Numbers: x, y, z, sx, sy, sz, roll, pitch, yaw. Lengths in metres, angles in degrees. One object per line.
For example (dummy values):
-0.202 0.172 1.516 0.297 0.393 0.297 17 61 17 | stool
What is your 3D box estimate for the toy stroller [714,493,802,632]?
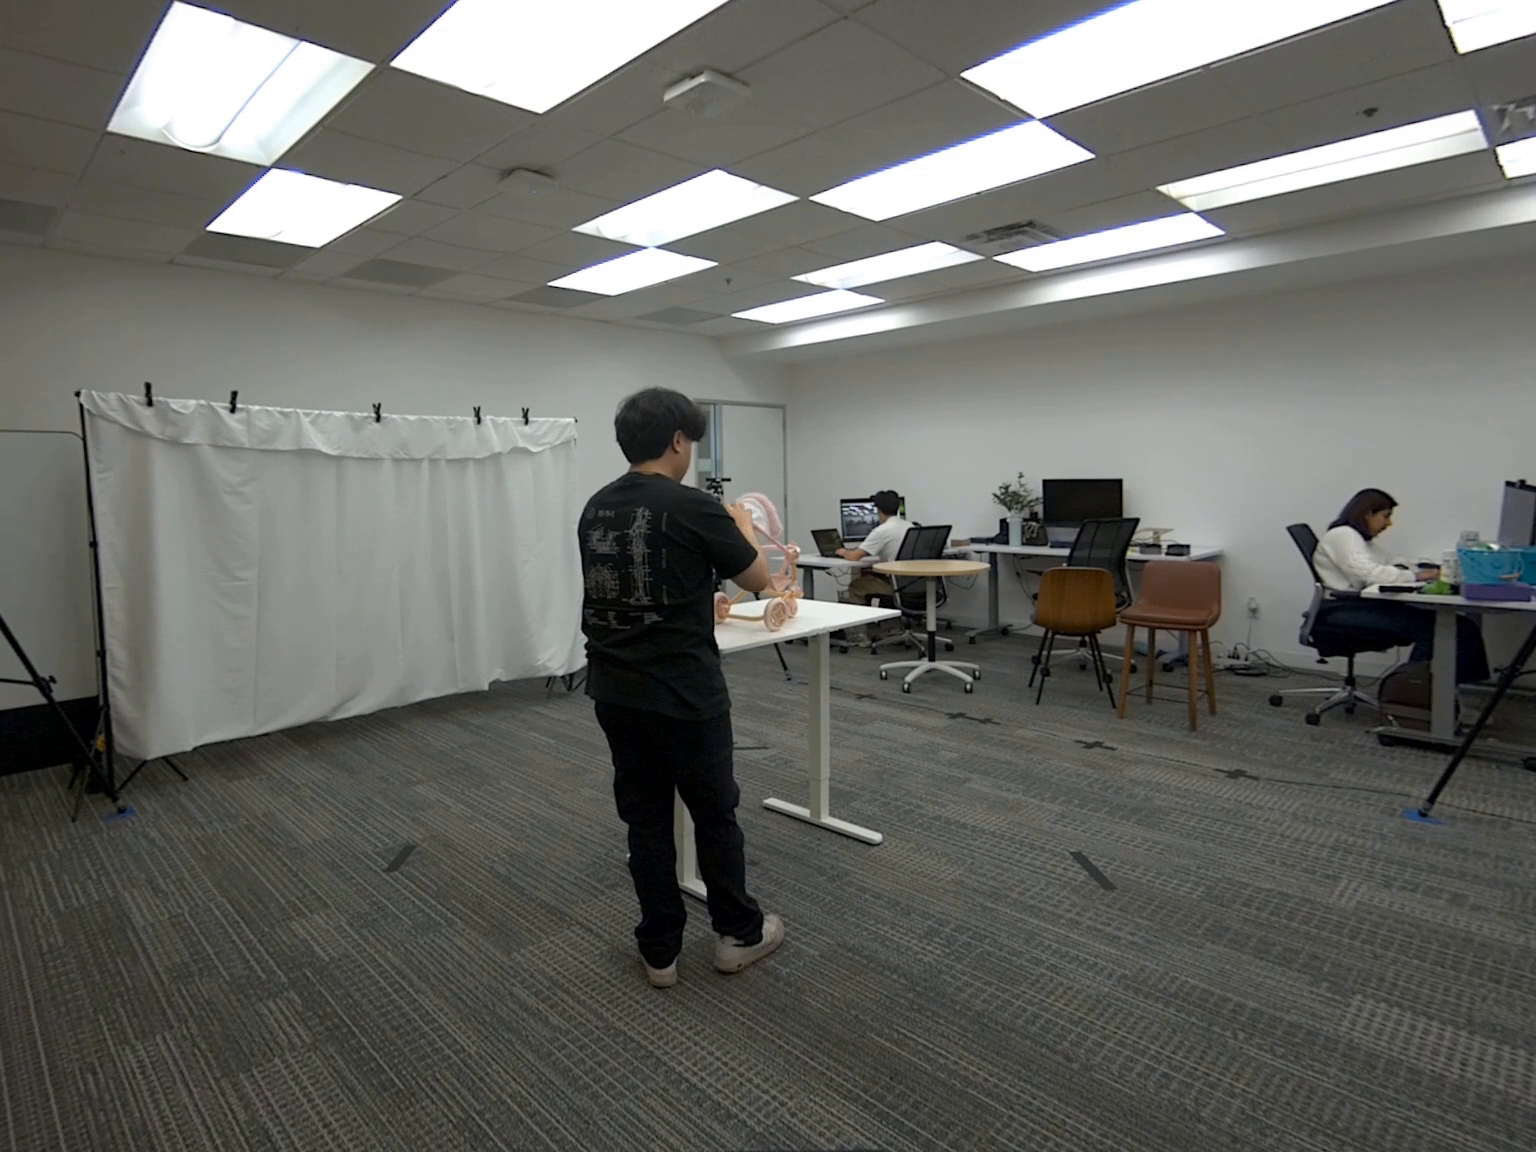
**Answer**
-0.032 -0.051 2.986 0.290 0.526 0.336 5 23 43 | toy stroller
